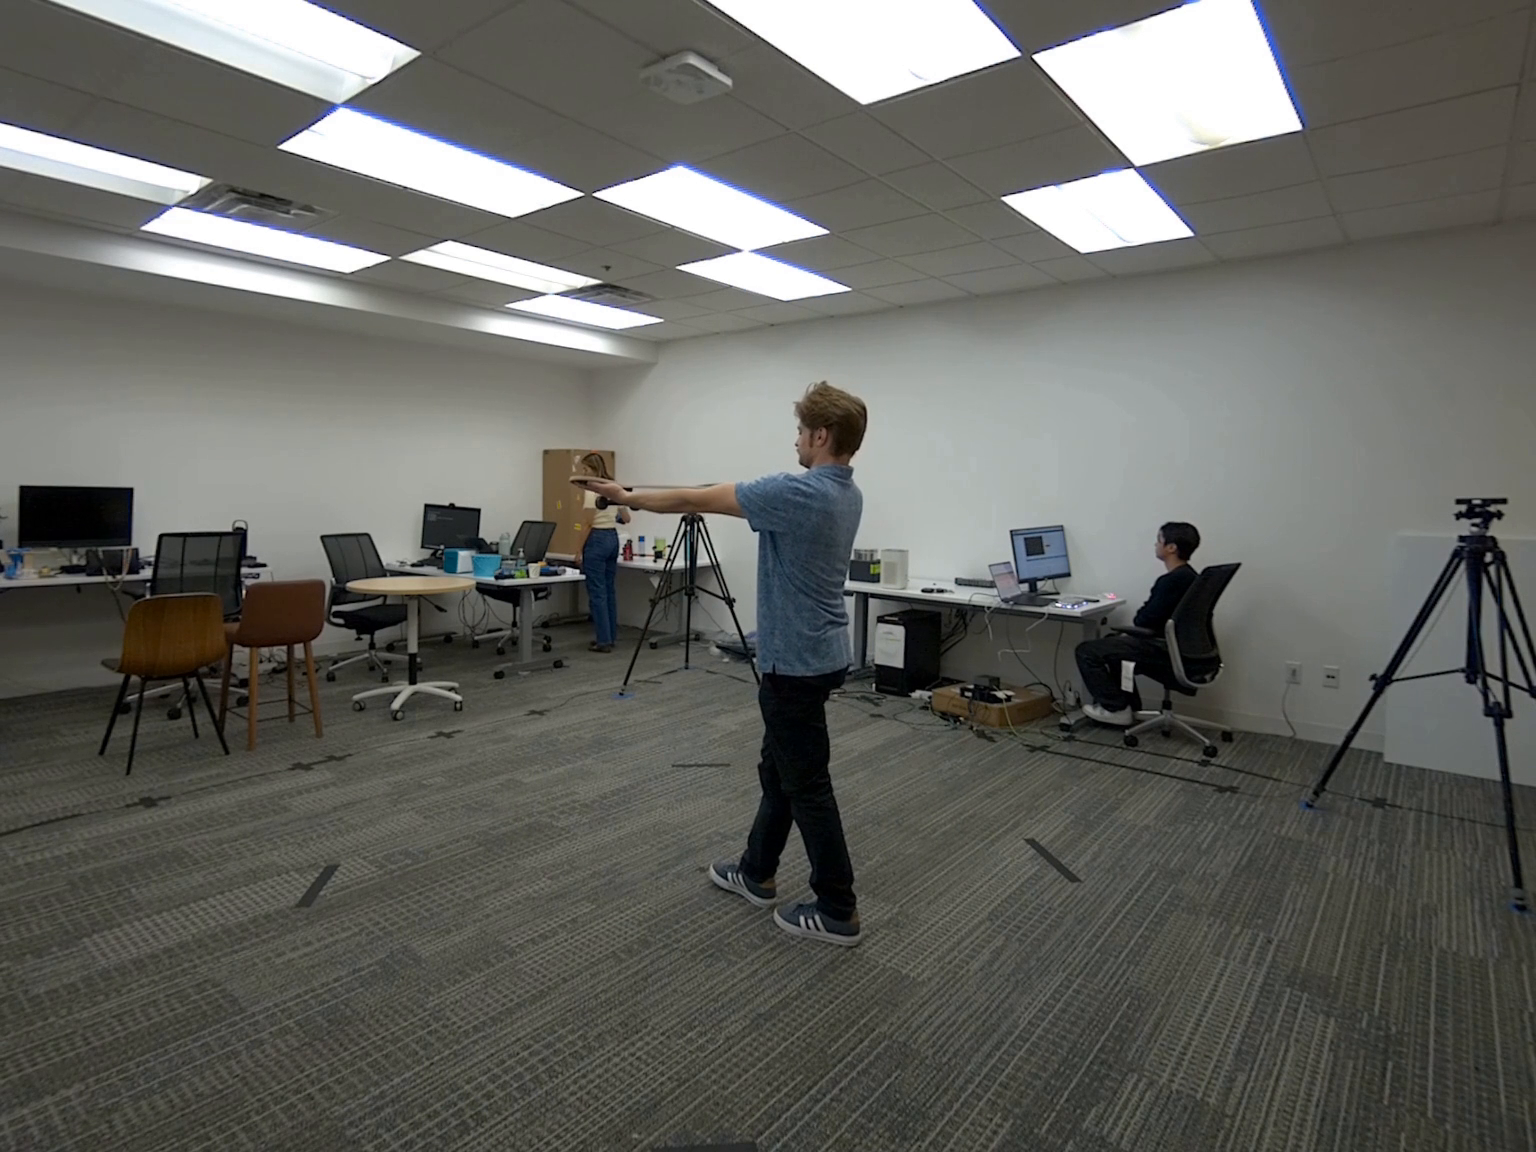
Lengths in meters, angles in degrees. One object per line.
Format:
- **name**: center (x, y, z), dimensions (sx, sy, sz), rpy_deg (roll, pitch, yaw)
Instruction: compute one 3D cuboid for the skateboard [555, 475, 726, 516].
- **skateboard**: center (-0.413, -0.289, 3.057), dimensions (0.200, 0.110, 0.763), rpy_deg (8, 7, 33)
